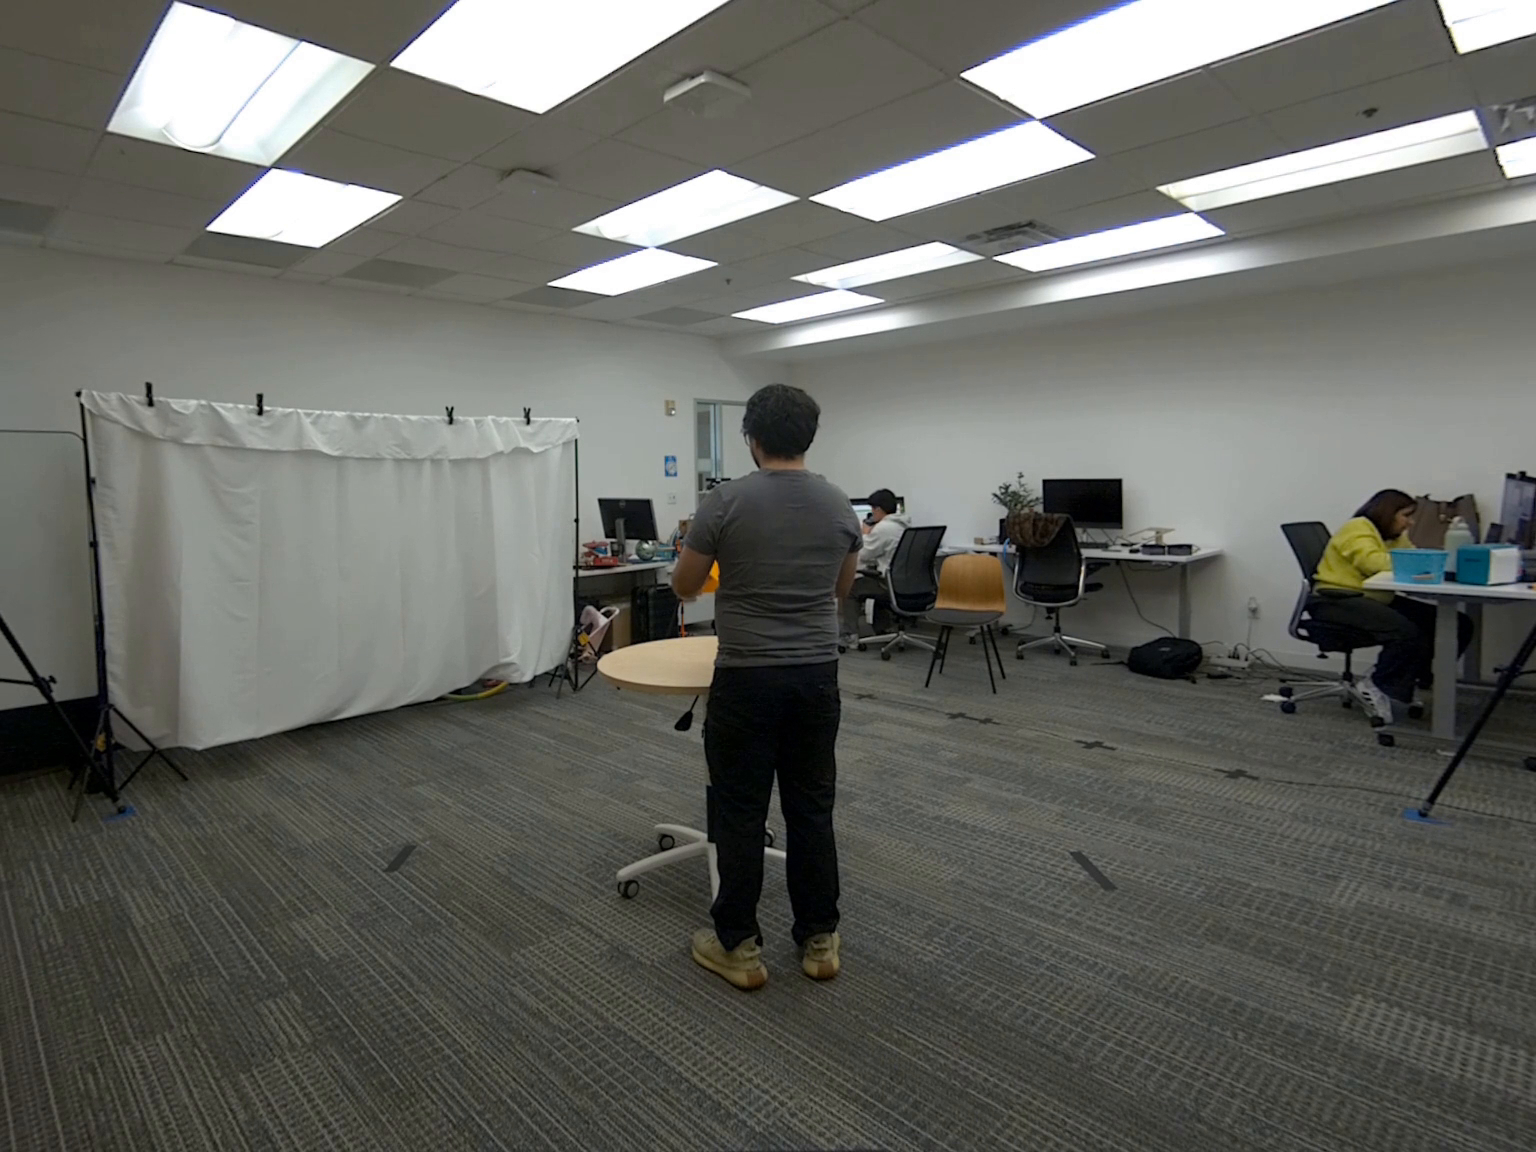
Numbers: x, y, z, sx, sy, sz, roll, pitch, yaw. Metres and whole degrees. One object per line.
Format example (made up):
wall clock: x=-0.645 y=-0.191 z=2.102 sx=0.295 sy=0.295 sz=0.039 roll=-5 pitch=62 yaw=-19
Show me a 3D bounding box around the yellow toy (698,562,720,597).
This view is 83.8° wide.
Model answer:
yellow toy: x=-0.139 y=-0.036 z=2.826 sx=0.201 sy=0.194 sz=0.234 roll=-4 pitch=-7 yaw=-25
